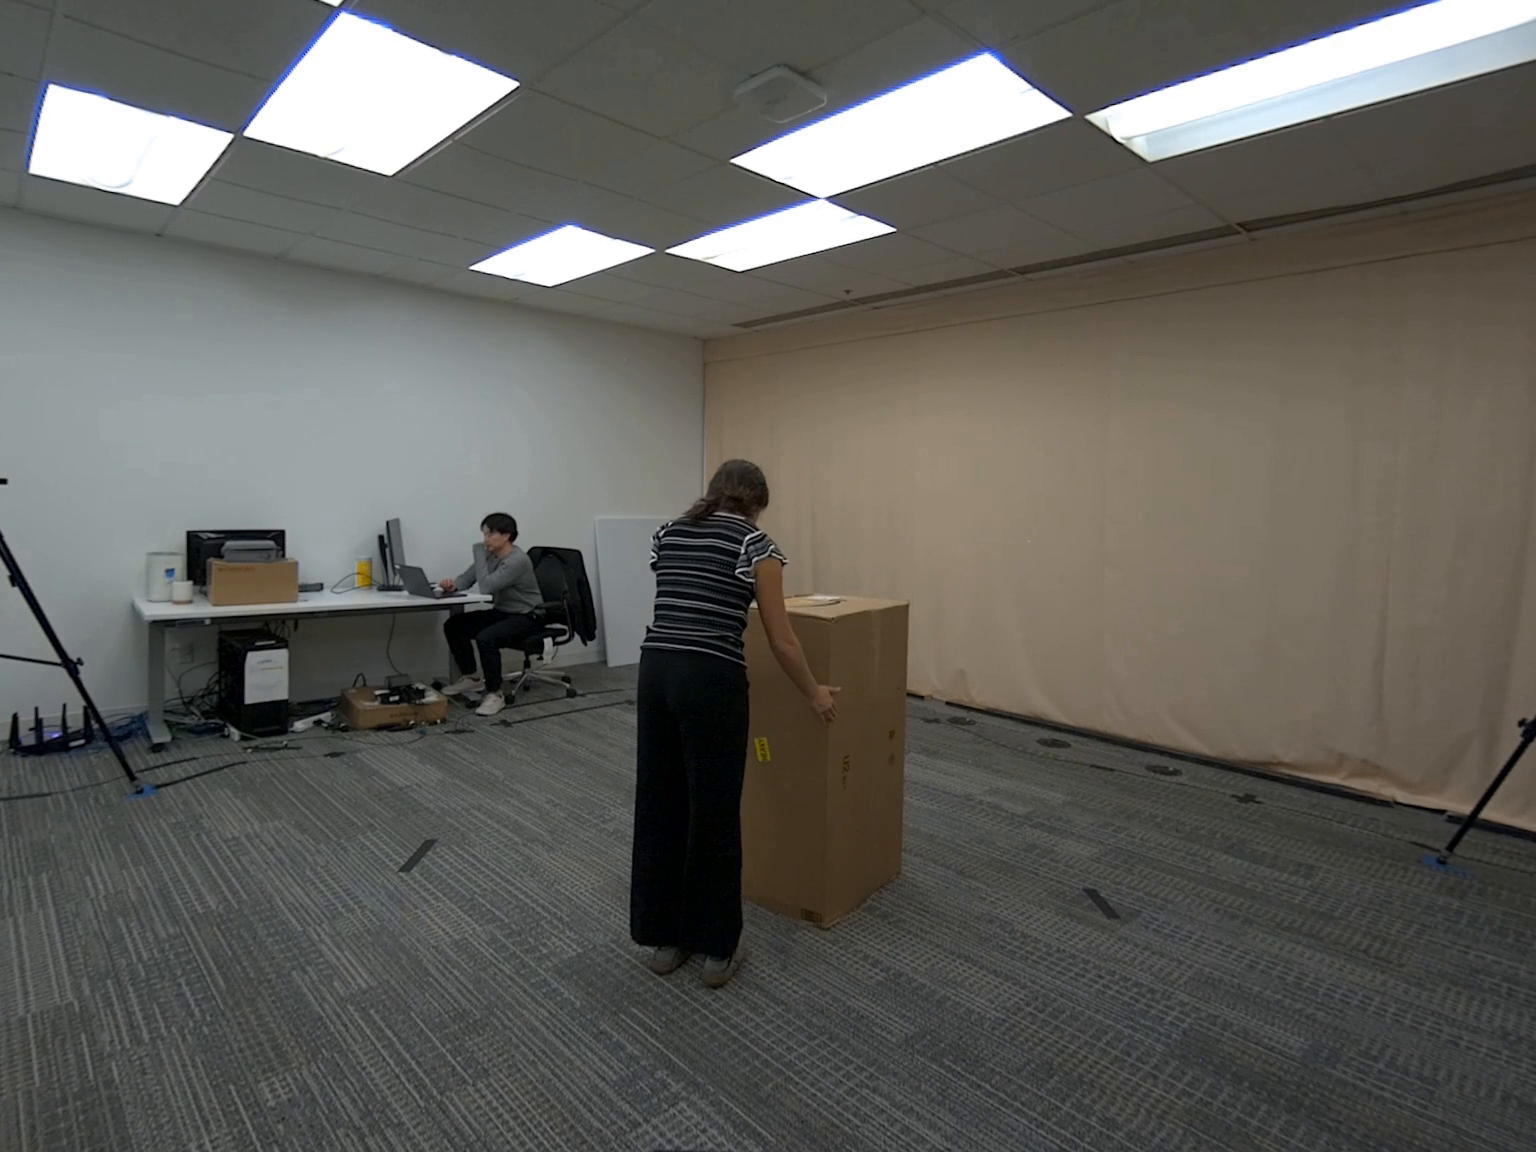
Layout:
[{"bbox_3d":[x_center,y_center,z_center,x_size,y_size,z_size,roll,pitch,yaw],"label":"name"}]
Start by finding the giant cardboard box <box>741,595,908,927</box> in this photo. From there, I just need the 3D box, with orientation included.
[{"bbox_3d":[0.180,0.612,3.049,0.436,1.023,0.565,4,4,35],"label":"giant cardboard box"}]
